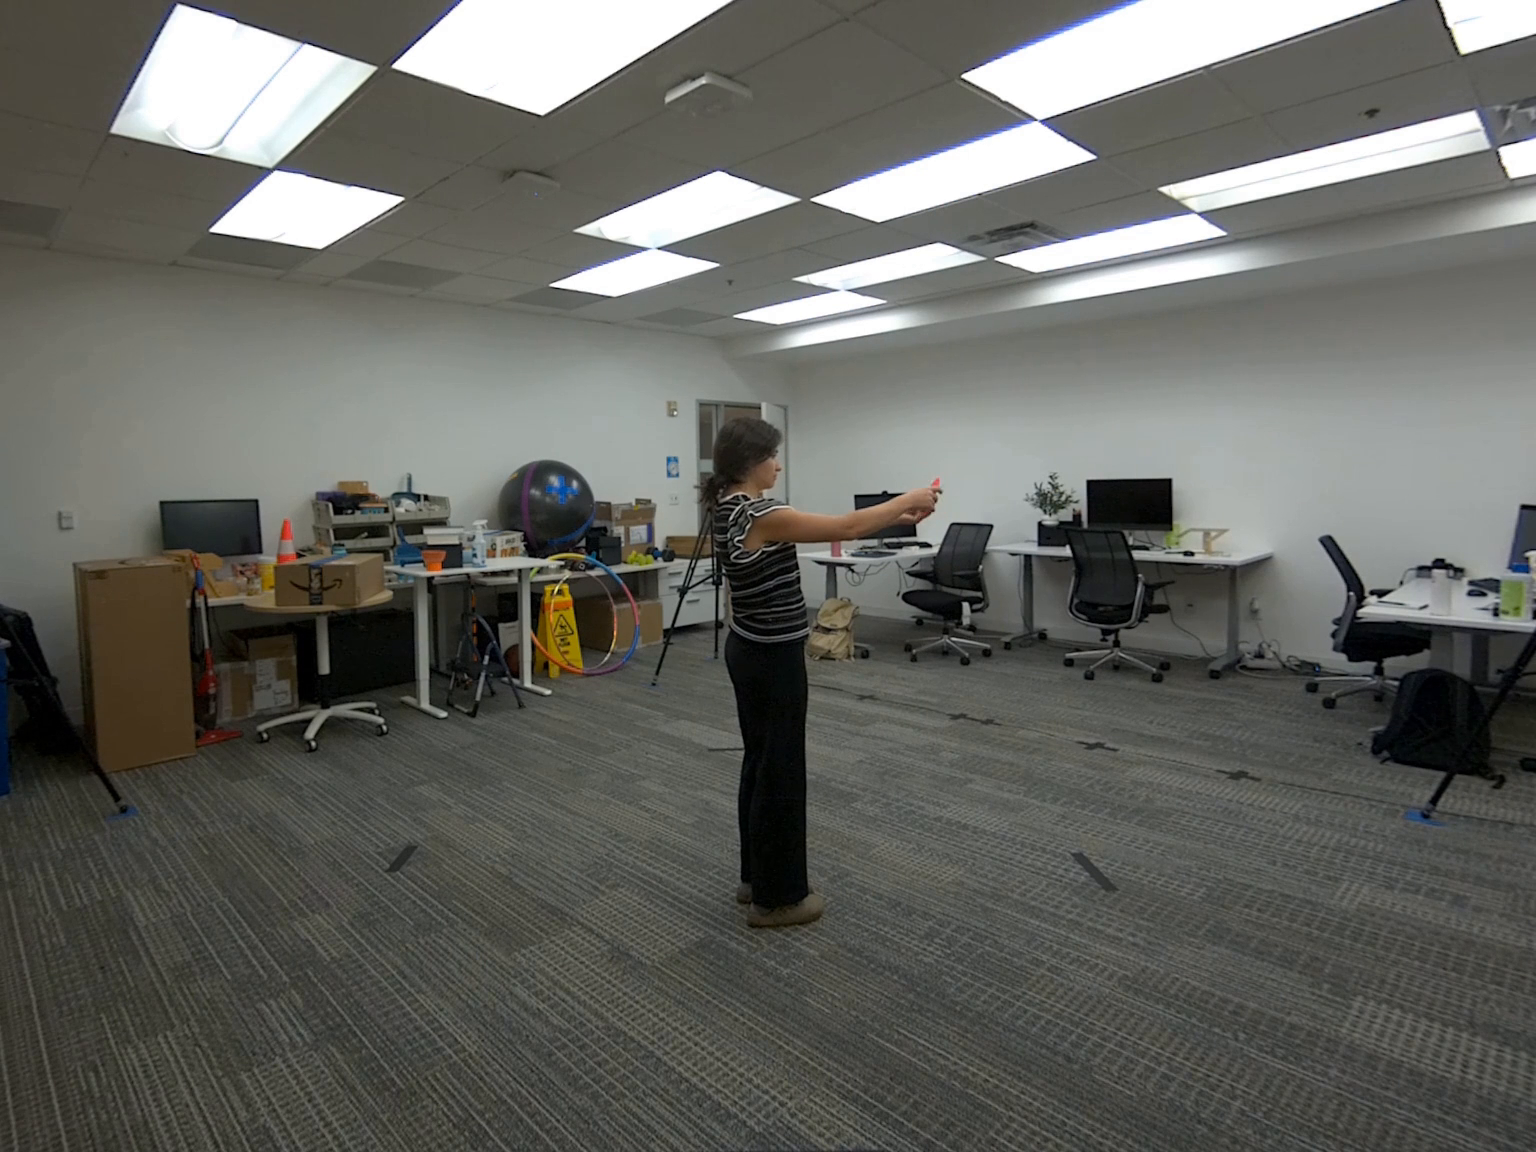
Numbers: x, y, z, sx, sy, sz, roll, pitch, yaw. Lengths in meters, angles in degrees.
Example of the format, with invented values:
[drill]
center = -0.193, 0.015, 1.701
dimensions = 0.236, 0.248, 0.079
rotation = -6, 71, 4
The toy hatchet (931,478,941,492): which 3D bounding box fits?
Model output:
[toy hatchet]
center = 0.535, -0.262, 2.842
dimensions = 0.030, 0.131, 0.269
rotation = 21, 4, 3
